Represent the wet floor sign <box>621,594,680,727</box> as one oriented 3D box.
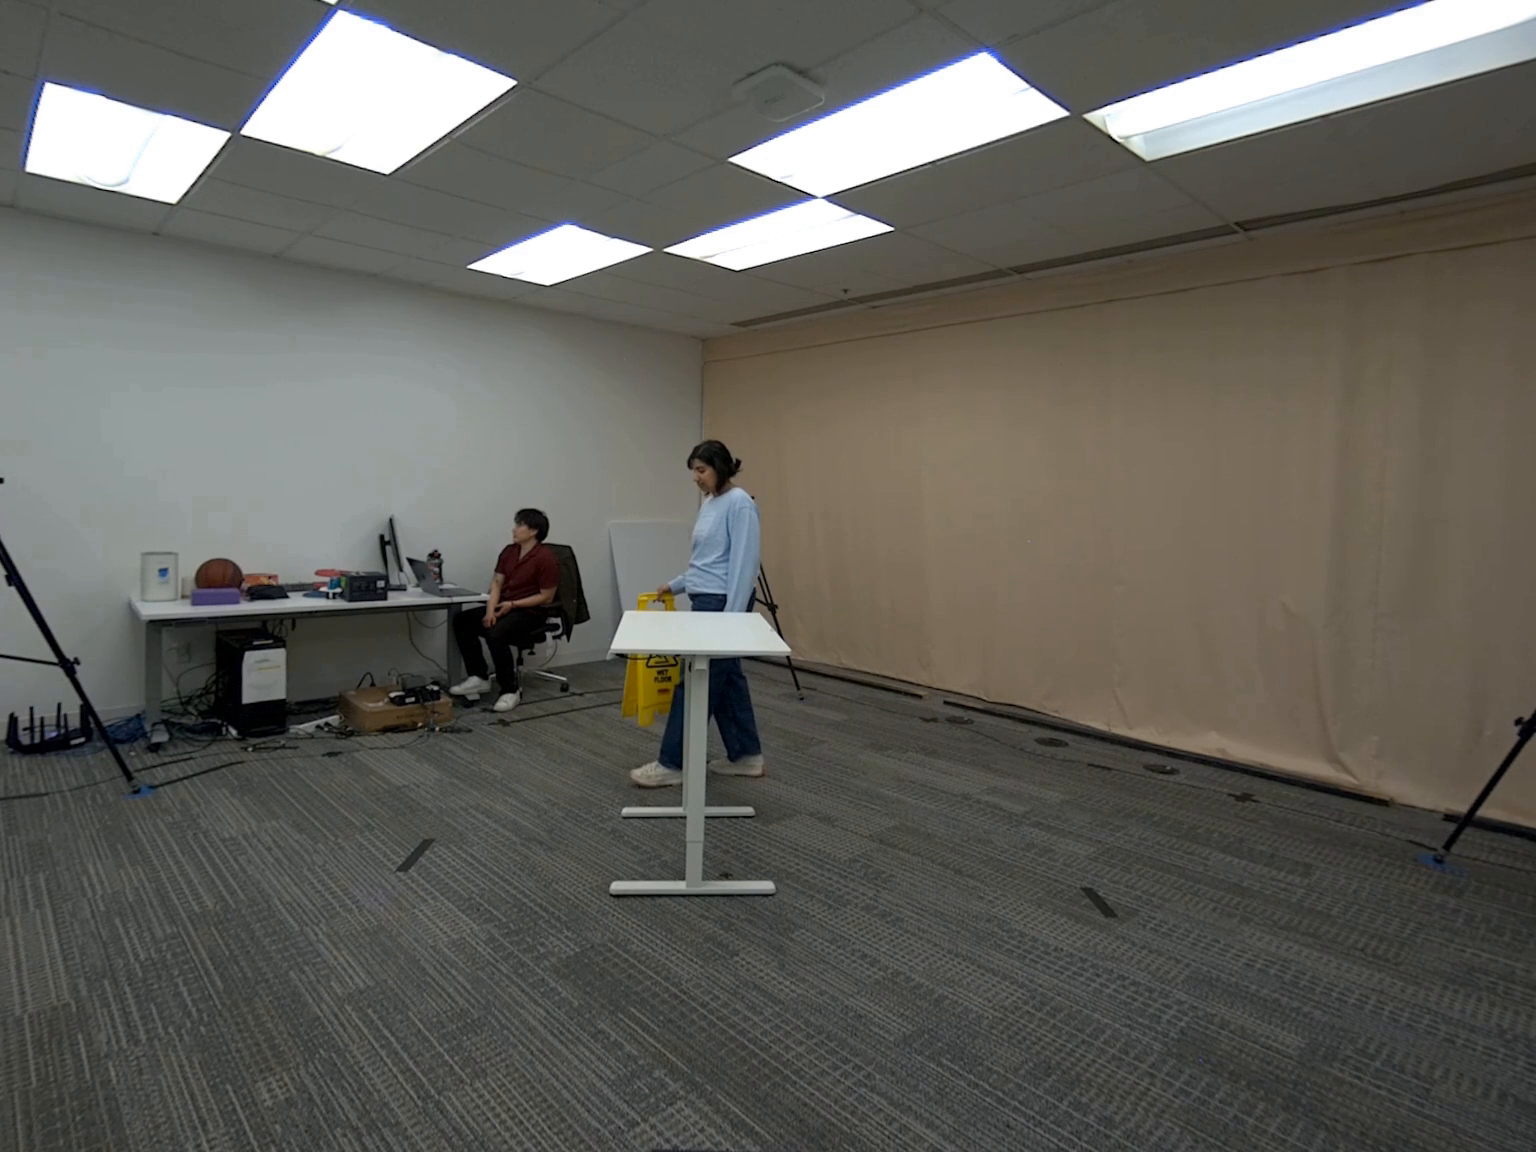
[{"bbox_3d":[-0.590,0.414,4.346,0.276,0.646,0.295,1,-1,-29],"label":"wet floor sign"}]
